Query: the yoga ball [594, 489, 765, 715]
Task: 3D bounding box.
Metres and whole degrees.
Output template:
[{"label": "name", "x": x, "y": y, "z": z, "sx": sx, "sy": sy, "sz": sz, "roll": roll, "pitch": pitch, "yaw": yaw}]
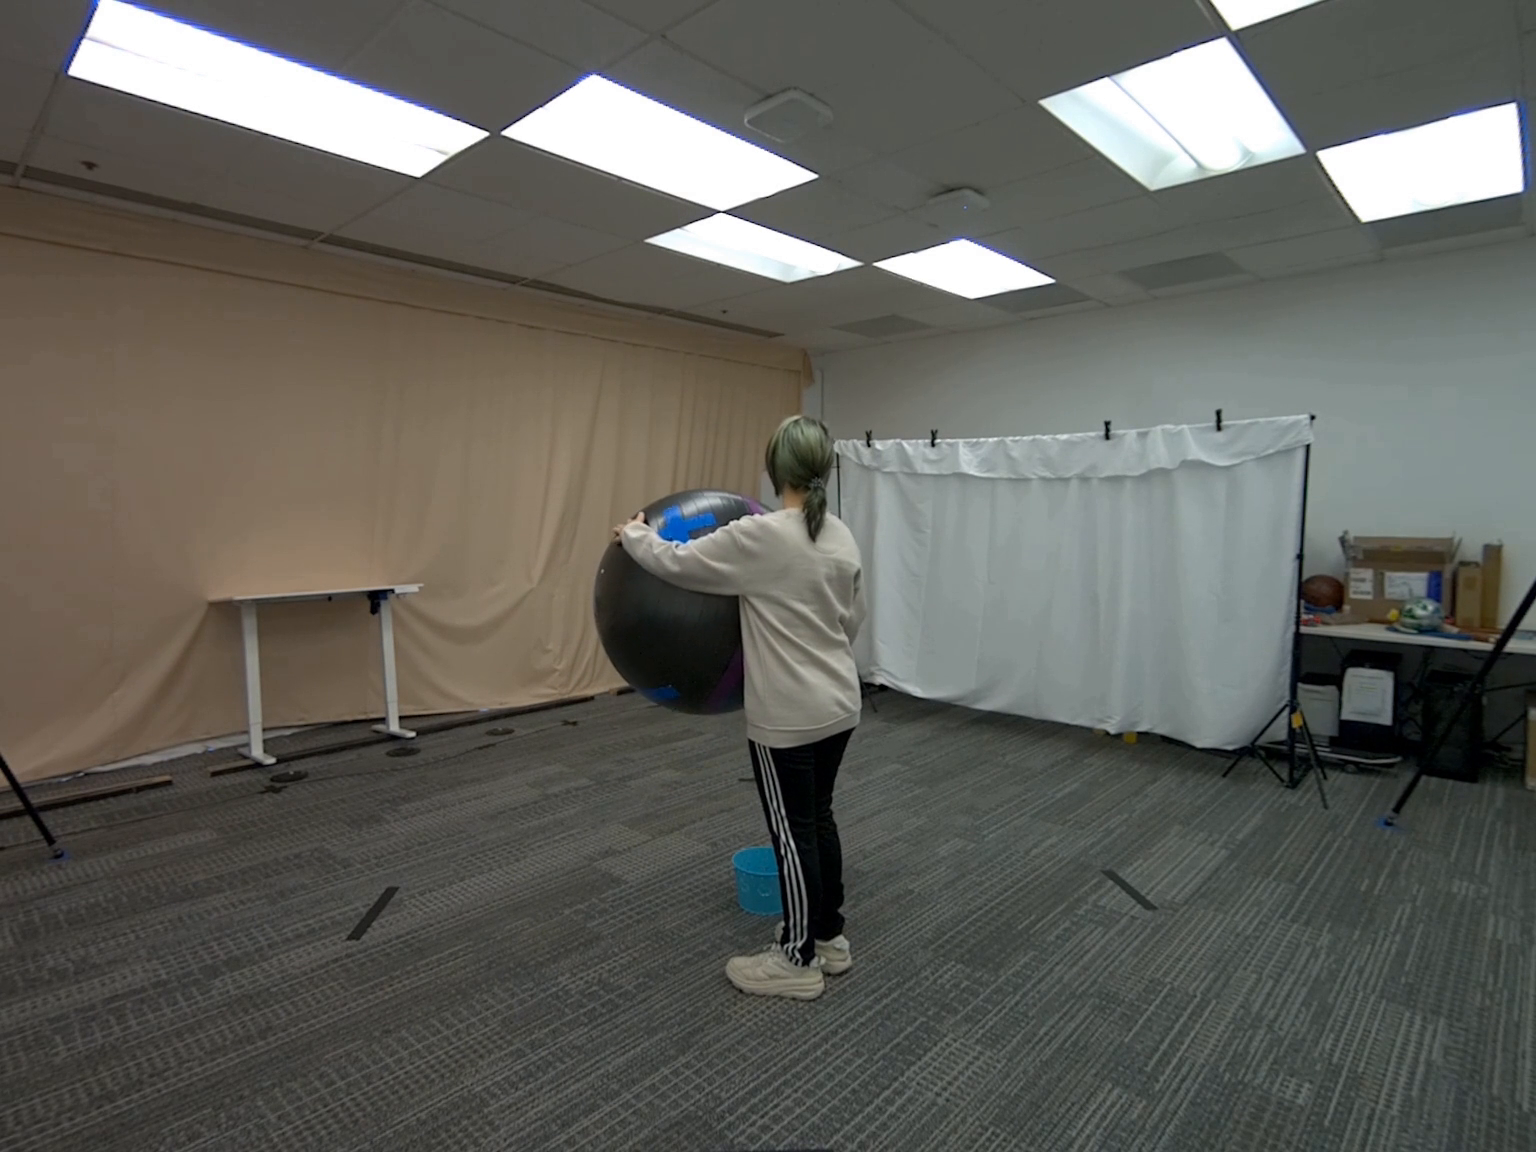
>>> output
[{"label": "yoga ball", "x": -0.210, "y": 0.092, "z": 2.845, "sx": 0.757, "sy": 0.756, "sz": 0.760, "roll": 0, "pitch": 4, "yaw": -2}]
